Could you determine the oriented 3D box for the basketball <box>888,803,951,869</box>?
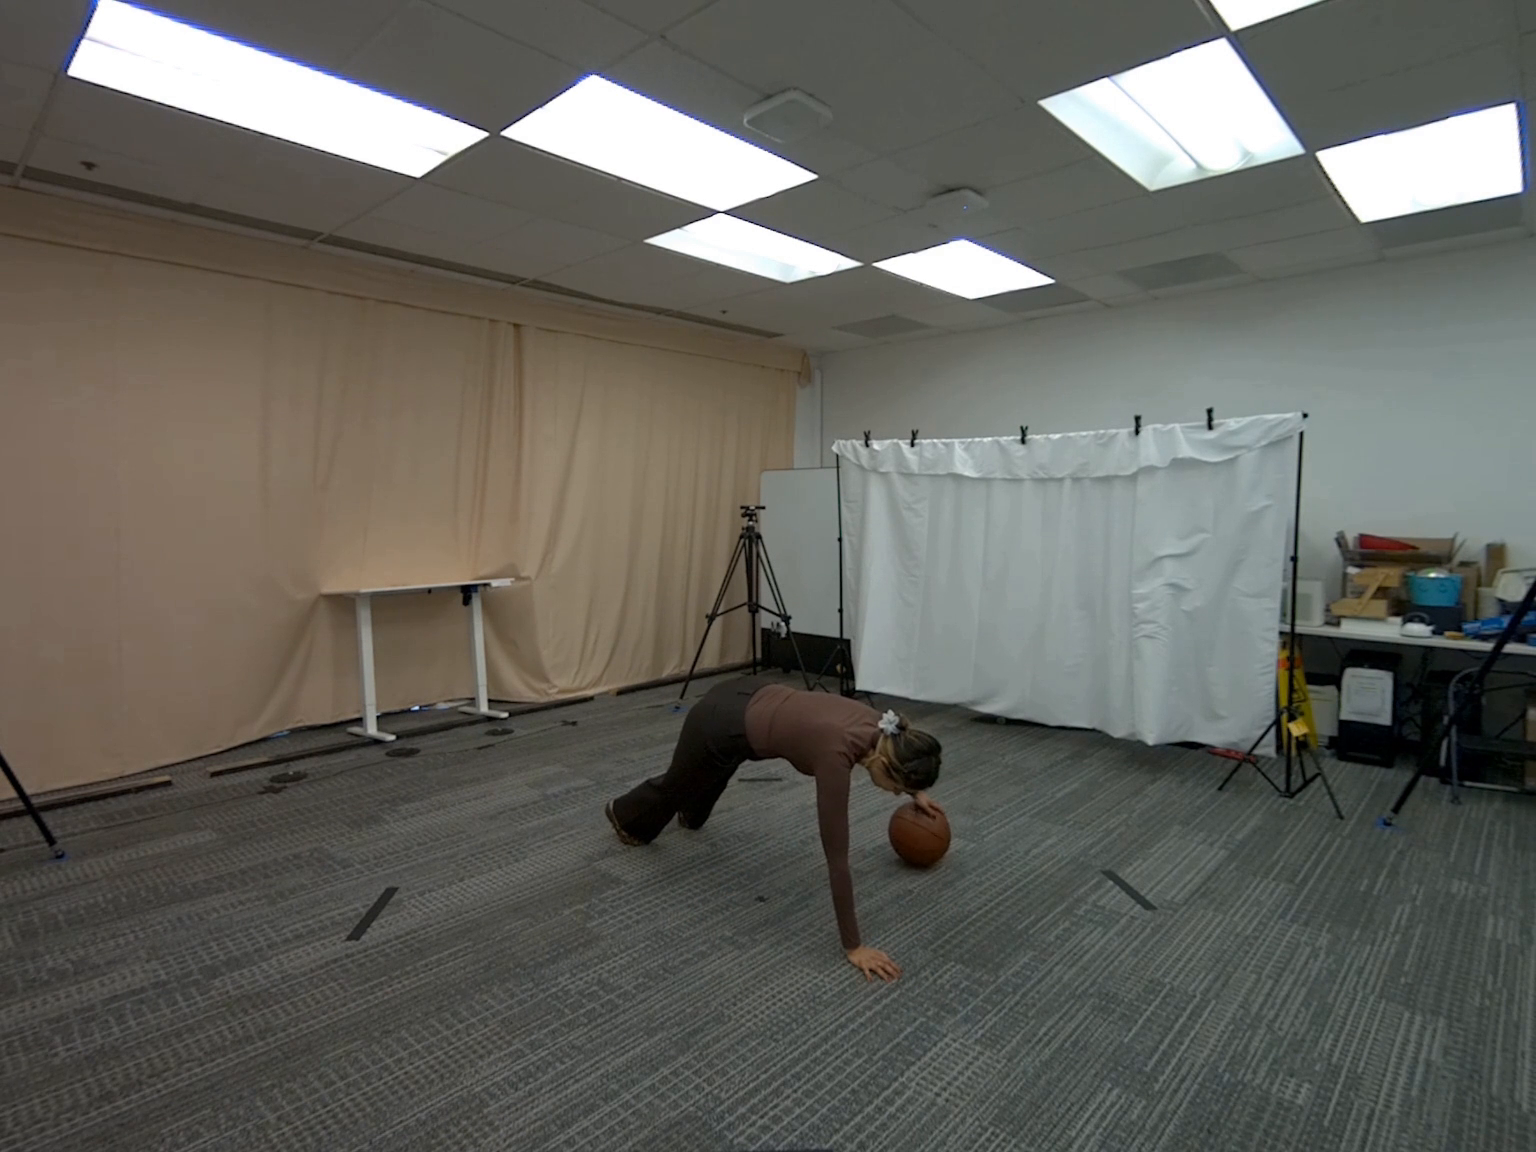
[{"bbox_3d":[0.589,1.000,3.261,0.236,0.235,0.237,0,4,-2],"label":"basketball"}]
